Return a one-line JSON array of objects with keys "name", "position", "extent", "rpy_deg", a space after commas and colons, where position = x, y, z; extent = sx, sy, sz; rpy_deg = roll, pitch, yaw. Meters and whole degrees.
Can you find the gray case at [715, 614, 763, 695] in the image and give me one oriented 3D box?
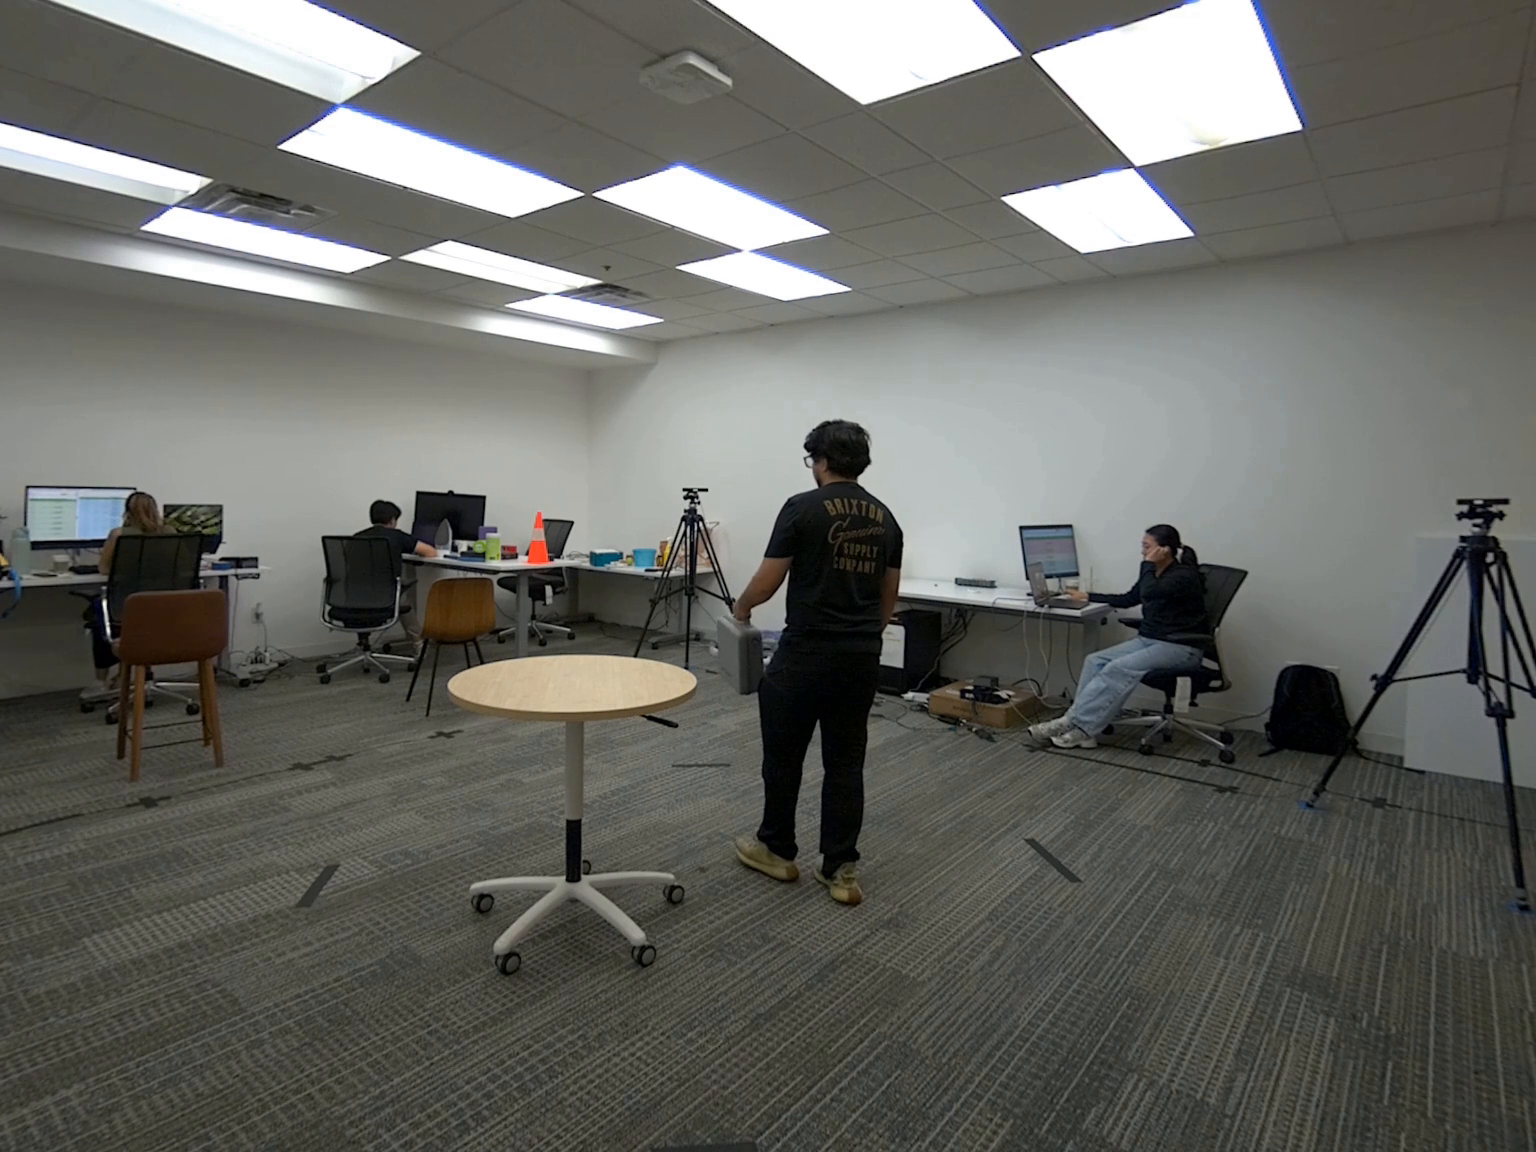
[{"name": "gray case", "position": [-0.118, 0.287, 3.243], "extent": [0.102, 0.257, 0.265], "rpy_deg": [-8, 15, -19]}]
